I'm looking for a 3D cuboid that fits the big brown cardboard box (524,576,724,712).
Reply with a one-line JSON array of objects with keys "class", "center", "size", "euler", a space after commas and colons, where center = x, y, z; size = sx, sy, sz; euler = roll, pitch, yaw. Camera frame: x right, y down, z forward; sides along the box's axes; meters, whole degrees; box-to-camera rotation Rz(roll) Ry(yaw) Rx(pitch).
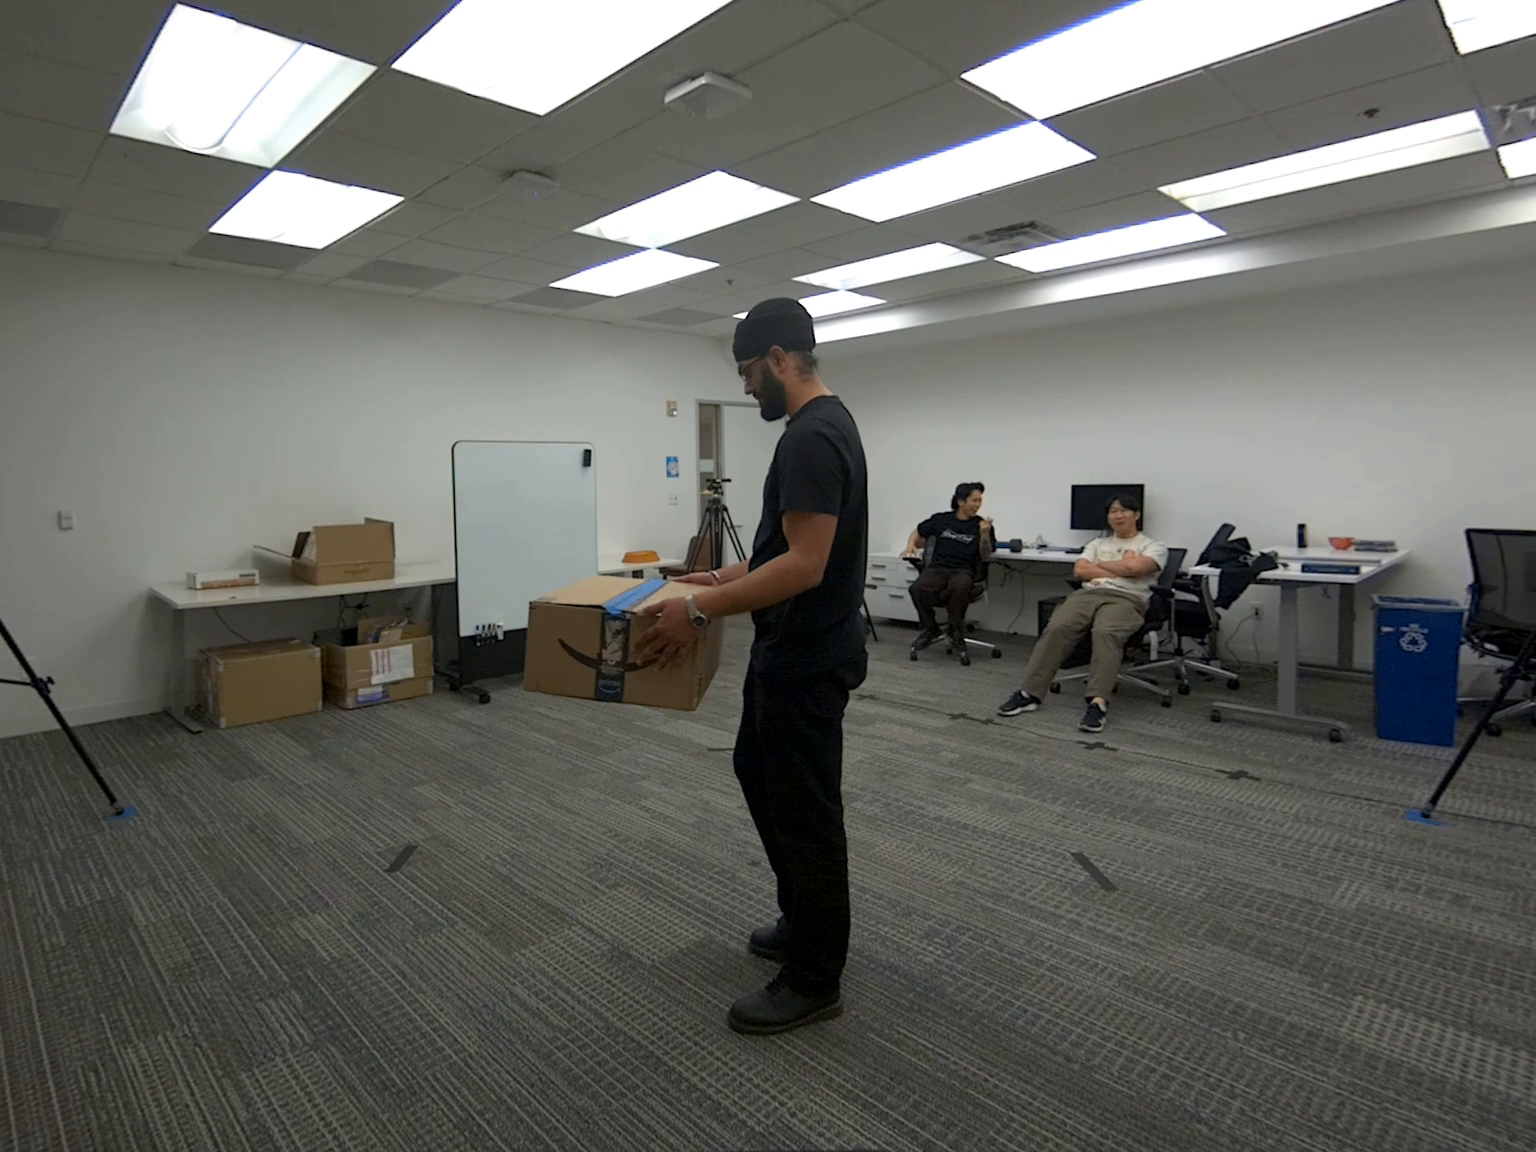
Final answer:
[{"class": "big brown cardboard box", "center": [-0.333, 0.152, 2.247], "size": [0.420, 0.232, 0.588], "euler": [4, 6, 3]}]
